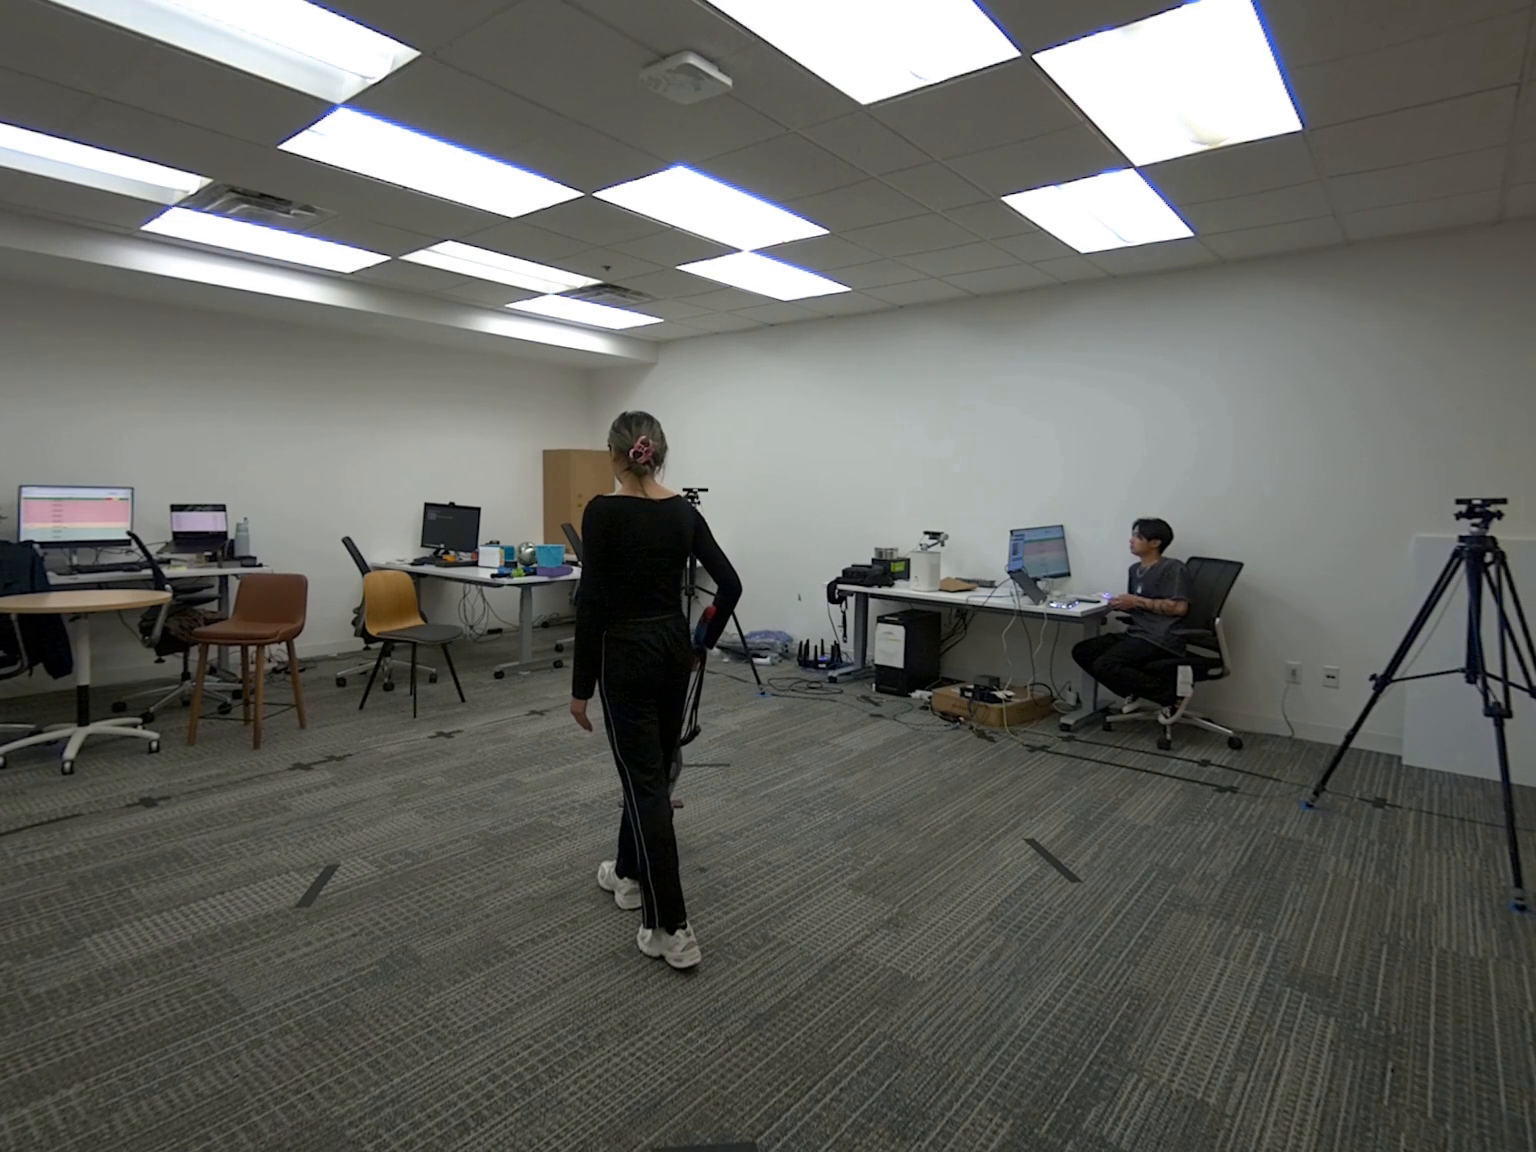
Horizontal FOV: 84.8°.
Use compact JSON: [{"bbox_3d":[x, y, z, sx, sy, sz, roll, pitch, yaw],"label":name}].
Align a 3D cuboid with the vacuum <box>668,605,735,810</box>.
[{"bbox_3d":[-0.323,0.504,2.983,0.248,1.032,0.149,5,35,-19],"label":"vacuum"}]
